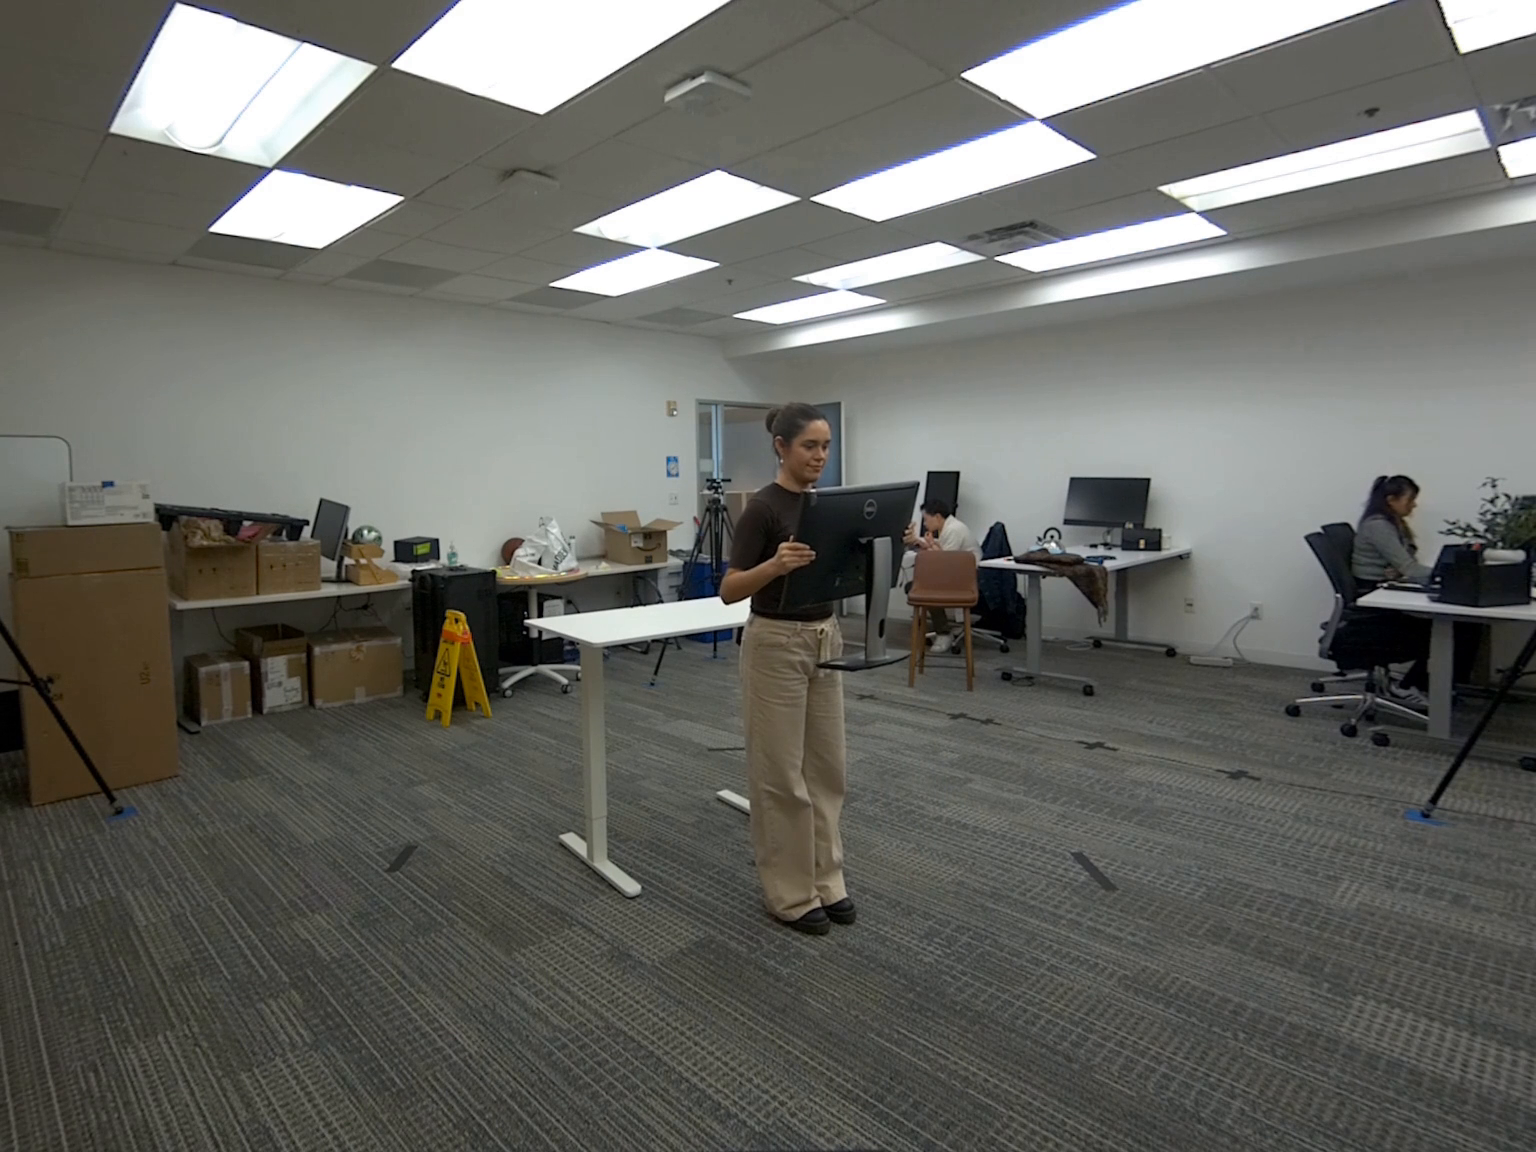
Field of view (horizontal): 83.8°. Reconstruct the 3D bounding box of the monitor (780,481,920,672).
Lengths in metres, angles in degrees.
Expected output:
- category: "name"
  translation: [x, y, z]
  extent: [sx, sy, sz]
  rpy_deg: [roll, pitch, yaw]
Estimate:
- category: "monitor"
  translation: [0.271, 0.001, 2.487]
  extent: [0.193, 0.520, 0.526]
  rpy_deg: [3, 9, 43]
